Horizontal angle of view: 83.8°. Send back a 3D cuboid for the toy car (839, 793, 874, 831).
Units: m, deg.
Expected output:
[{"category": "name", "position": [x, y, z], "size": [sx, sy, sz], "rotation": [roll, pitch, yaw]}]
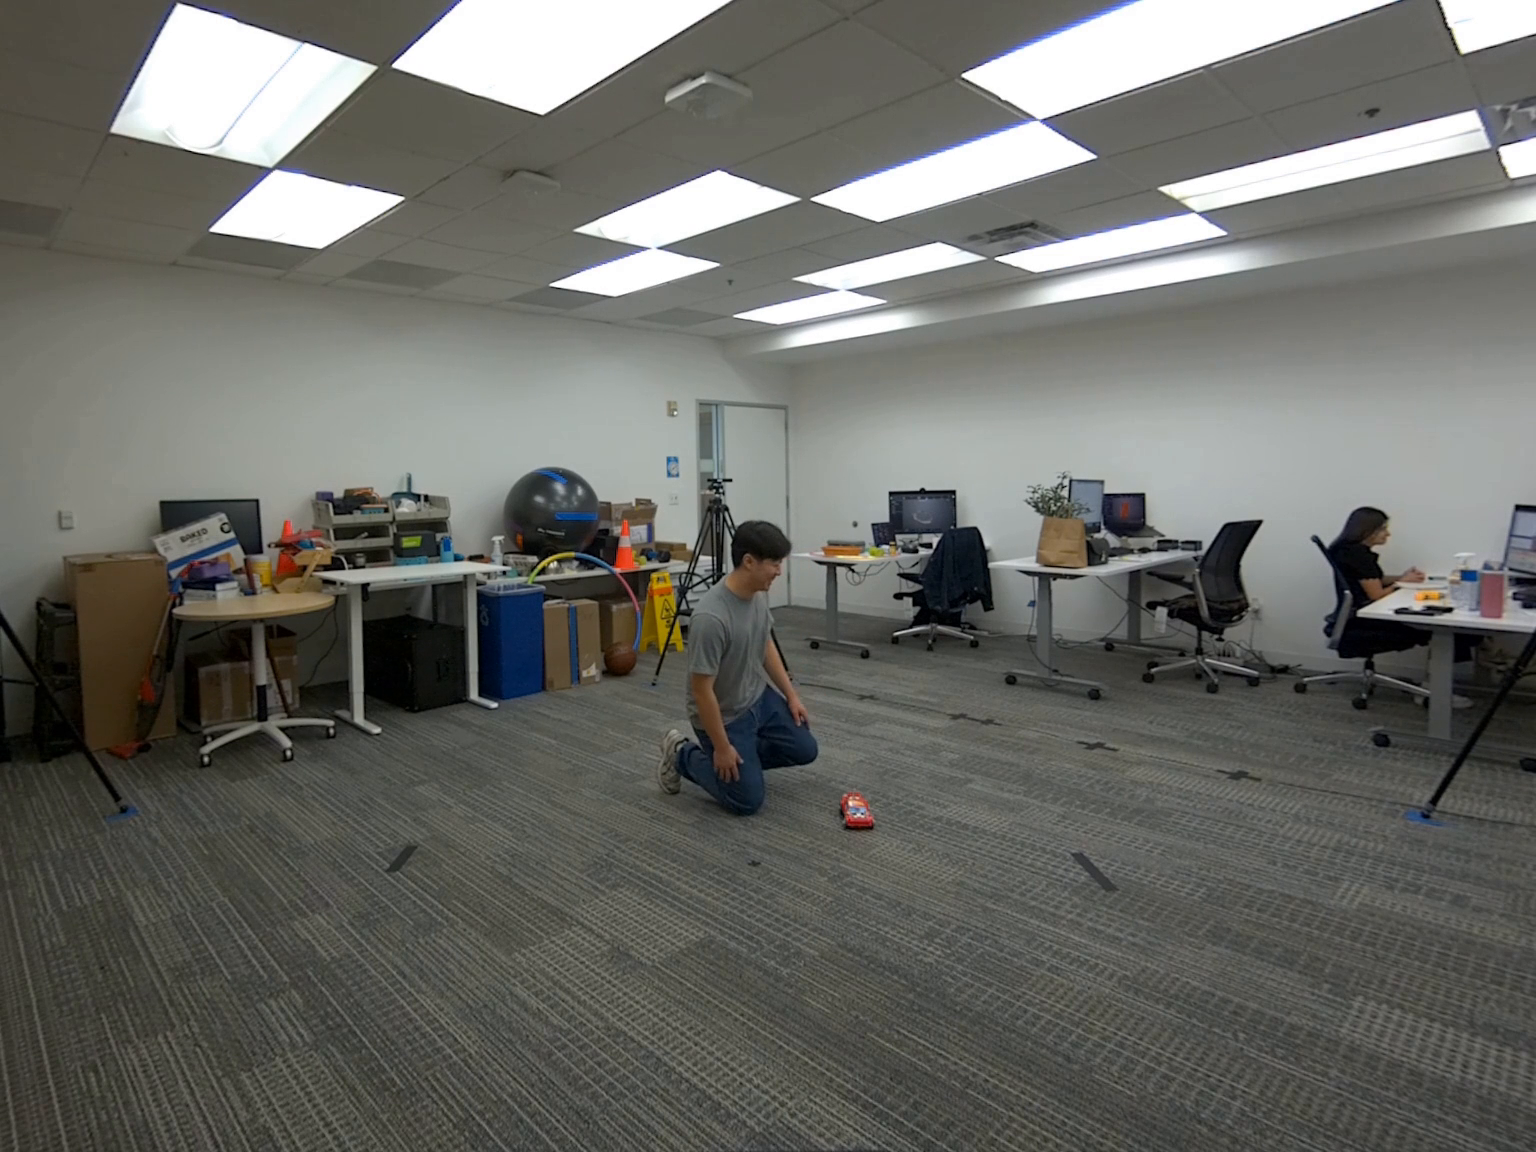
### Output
[{"category": "toy car", "position": [0.363, 0.963, 3.495], "size": [0.130, 0.082, 0.258], "rotation": [-2, 16, 0]}]
